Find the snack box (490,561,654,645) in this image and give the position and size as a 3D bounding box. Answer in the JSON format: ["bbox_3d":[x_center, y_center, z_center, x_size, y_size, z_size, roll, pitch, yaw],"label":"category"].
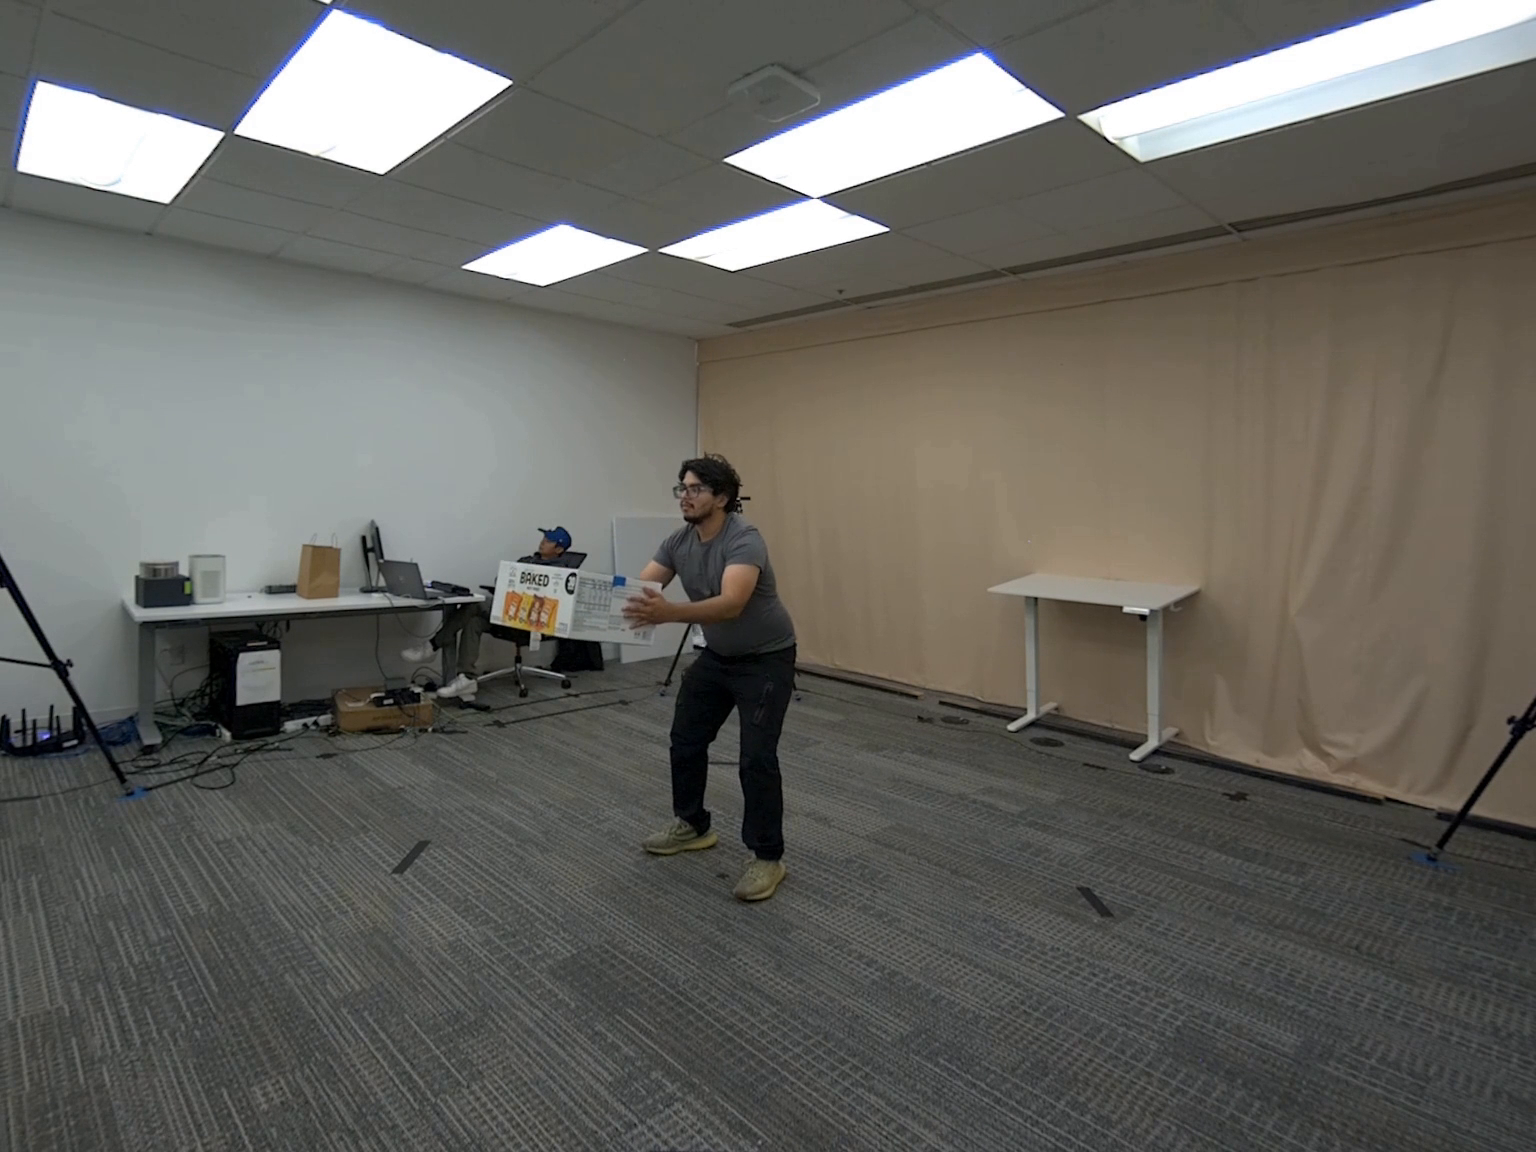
[{"bbox_3d":[-0.616,0.090,2.674,0.415,0.206,0.331,6,-3,41],"label":"snack box"}]
